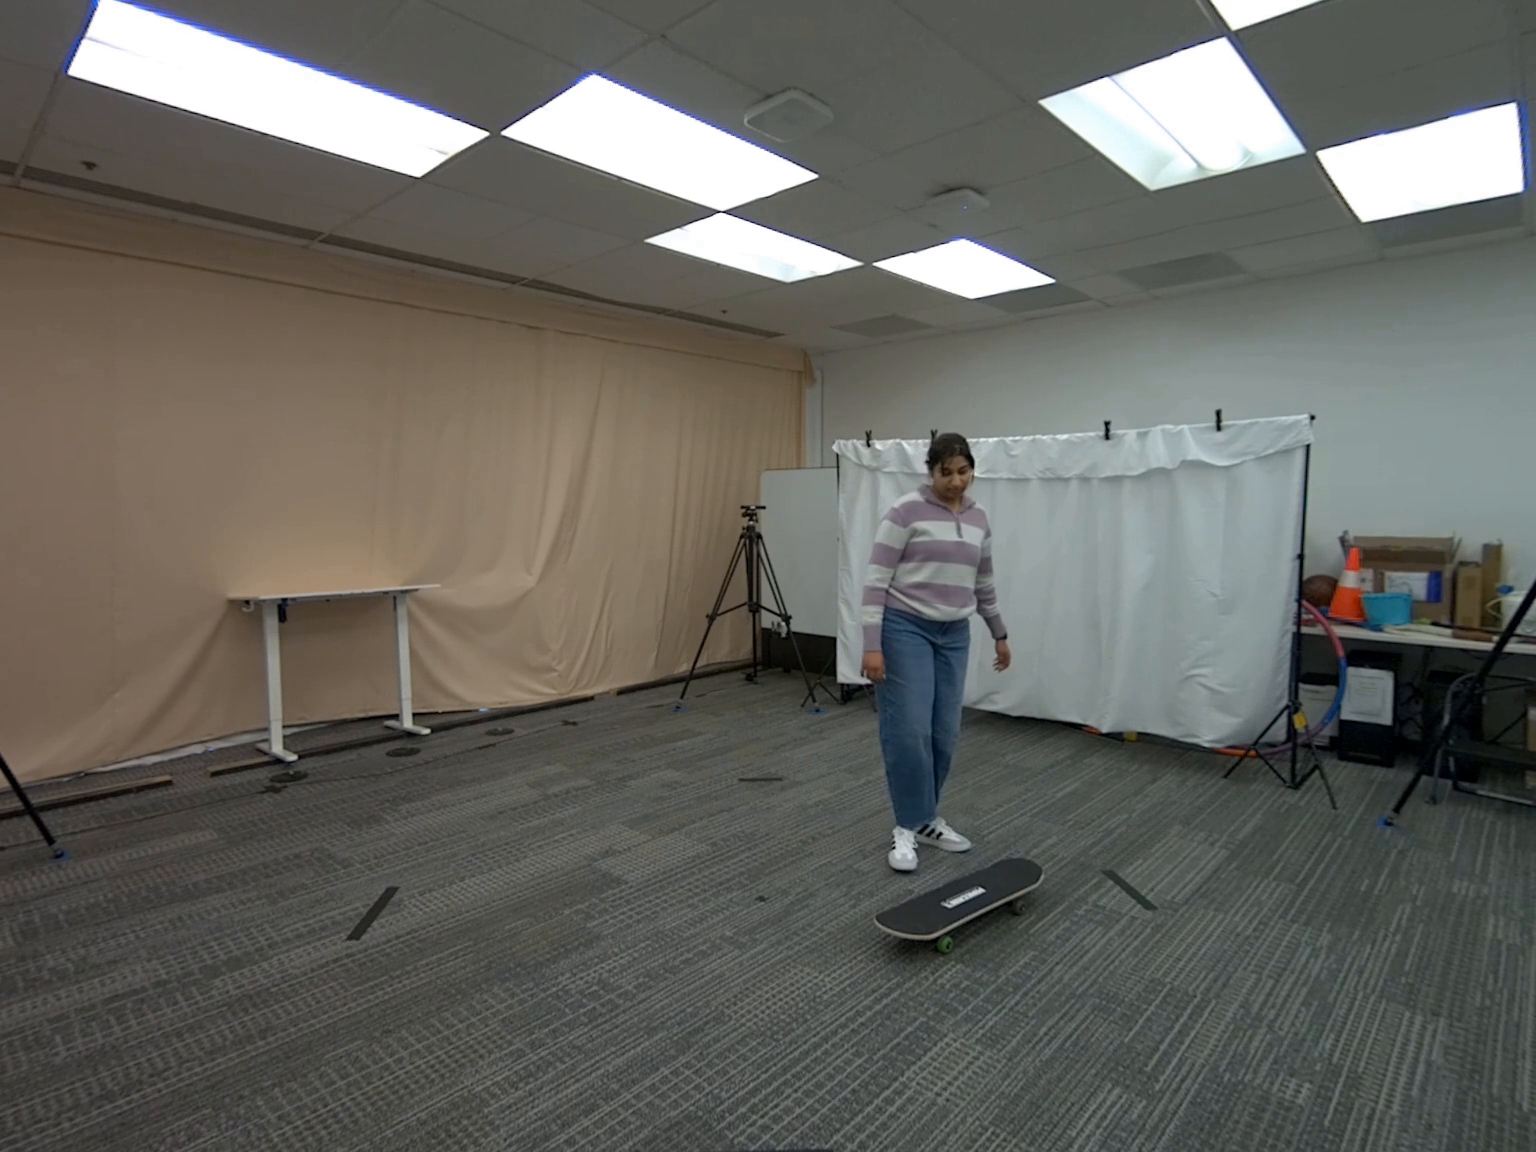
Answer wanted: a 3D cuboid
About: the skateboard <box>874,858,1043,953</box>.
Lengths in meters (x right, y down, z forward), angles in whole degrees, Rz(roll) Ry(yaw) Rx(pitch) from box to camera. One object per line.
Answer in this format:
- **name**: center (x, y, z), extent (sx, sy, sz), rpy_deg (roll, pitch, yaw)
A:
- **skateboard**: center (0.651, 1.101, 2.798), extent (0.762, 0.110, 0.200), rpy_deg (-4, 5, -39)
